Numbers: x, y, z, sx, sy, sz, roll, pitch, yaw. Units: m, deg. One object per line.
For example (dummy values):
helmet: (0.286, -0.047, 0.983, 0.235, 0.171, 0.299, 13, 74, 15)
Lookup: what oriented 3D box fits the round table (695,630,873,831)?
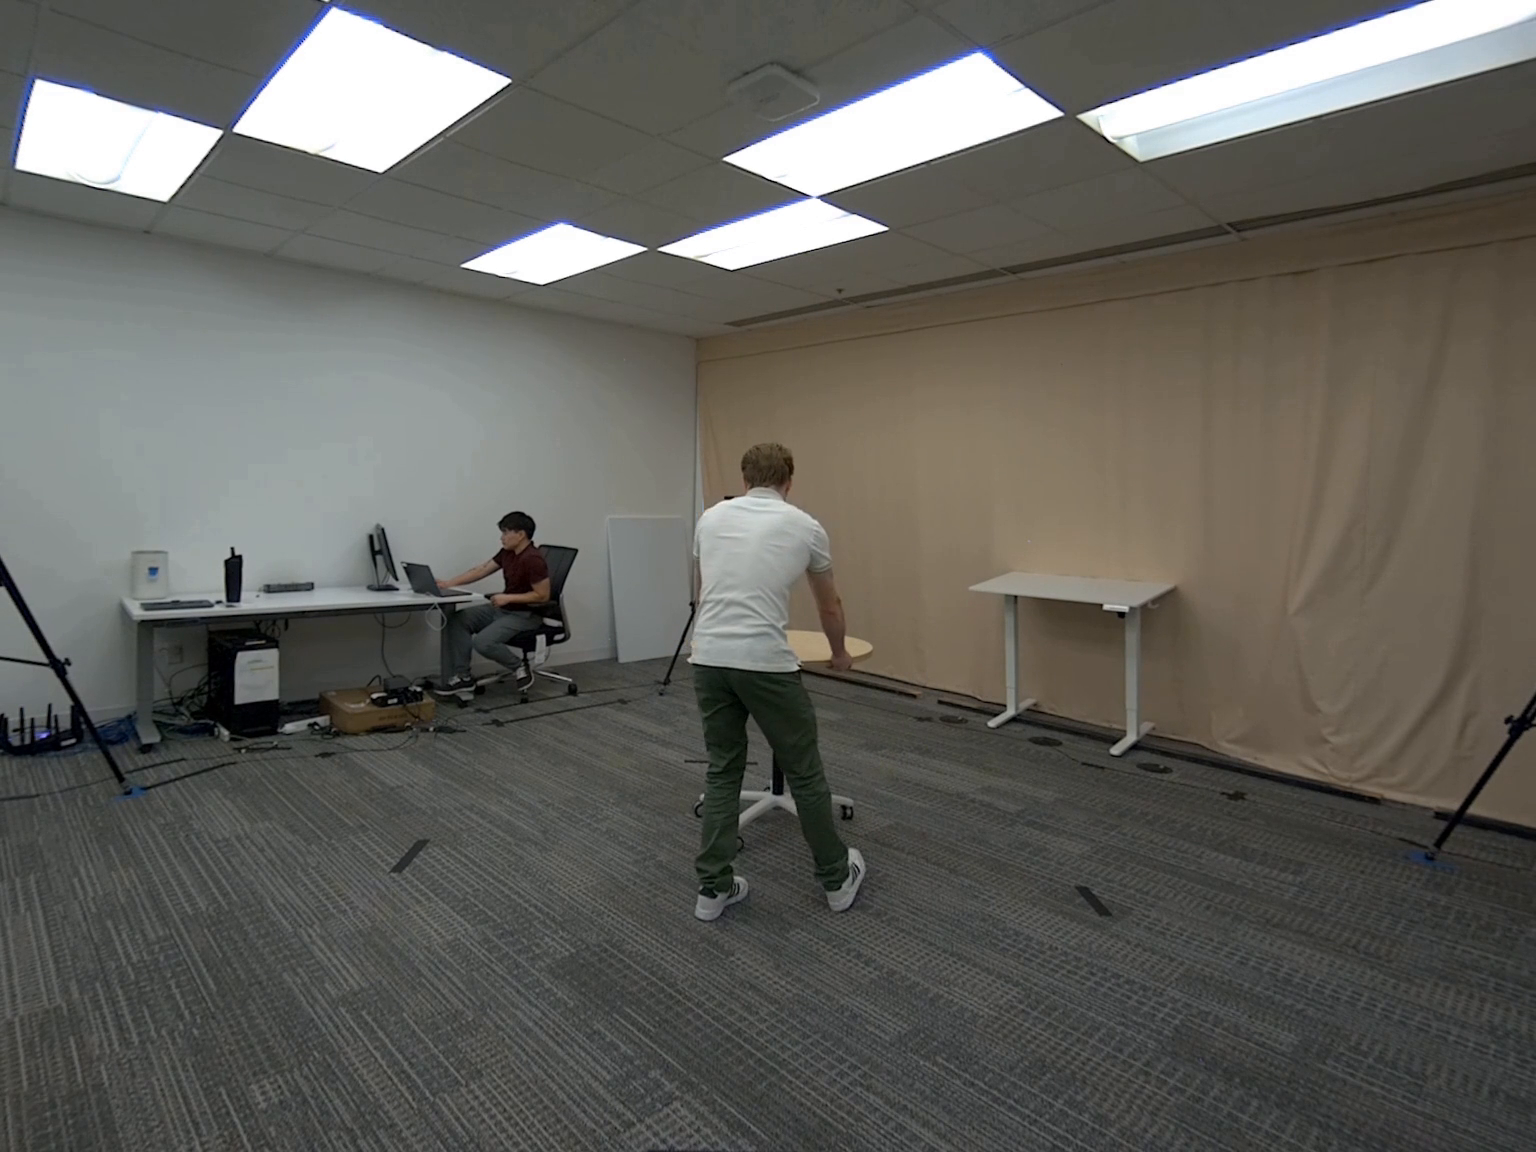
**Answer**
round table: (0.045, 0.676, 3.556, 0.784, 0.785, 0.787, 1, 4, -1)
